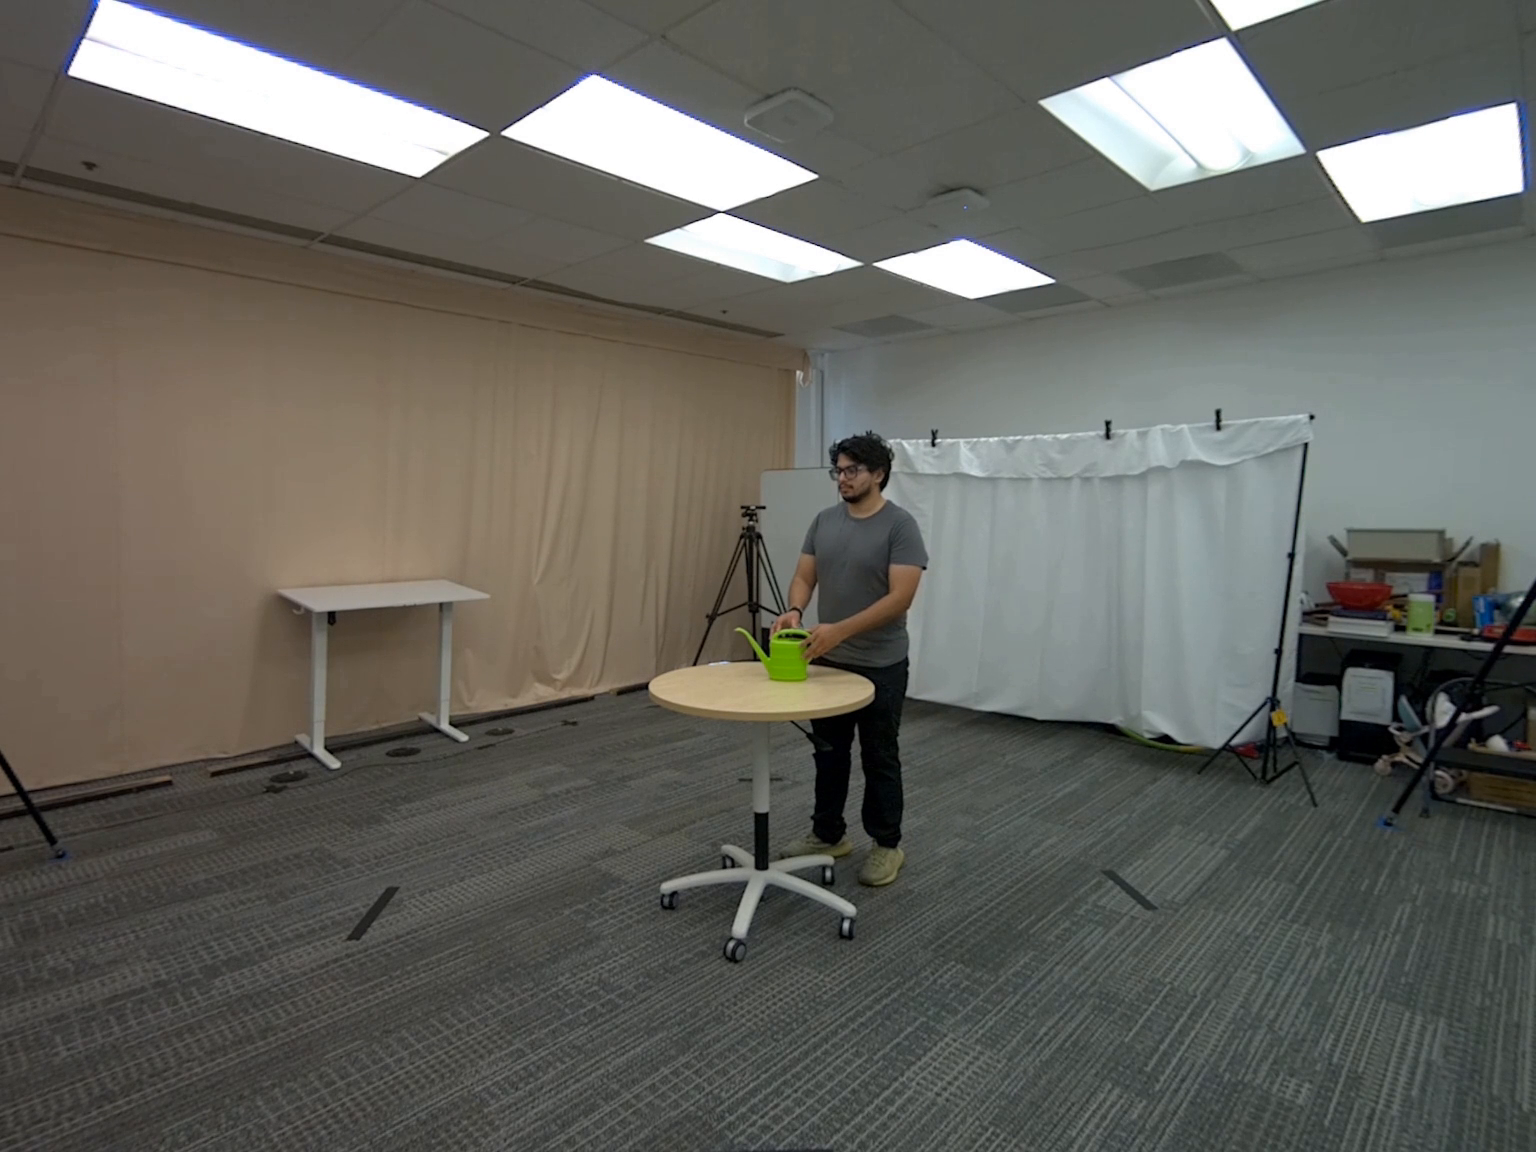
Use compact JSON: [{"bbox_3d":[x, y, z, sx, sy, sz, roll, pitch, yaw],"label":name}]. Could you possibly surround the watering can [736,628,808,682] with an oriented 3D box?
[{"bbox_3d":[0.029,0.276,2.966,0.284,0.176,0.096,1,2,22],"label":"watering can"}]
